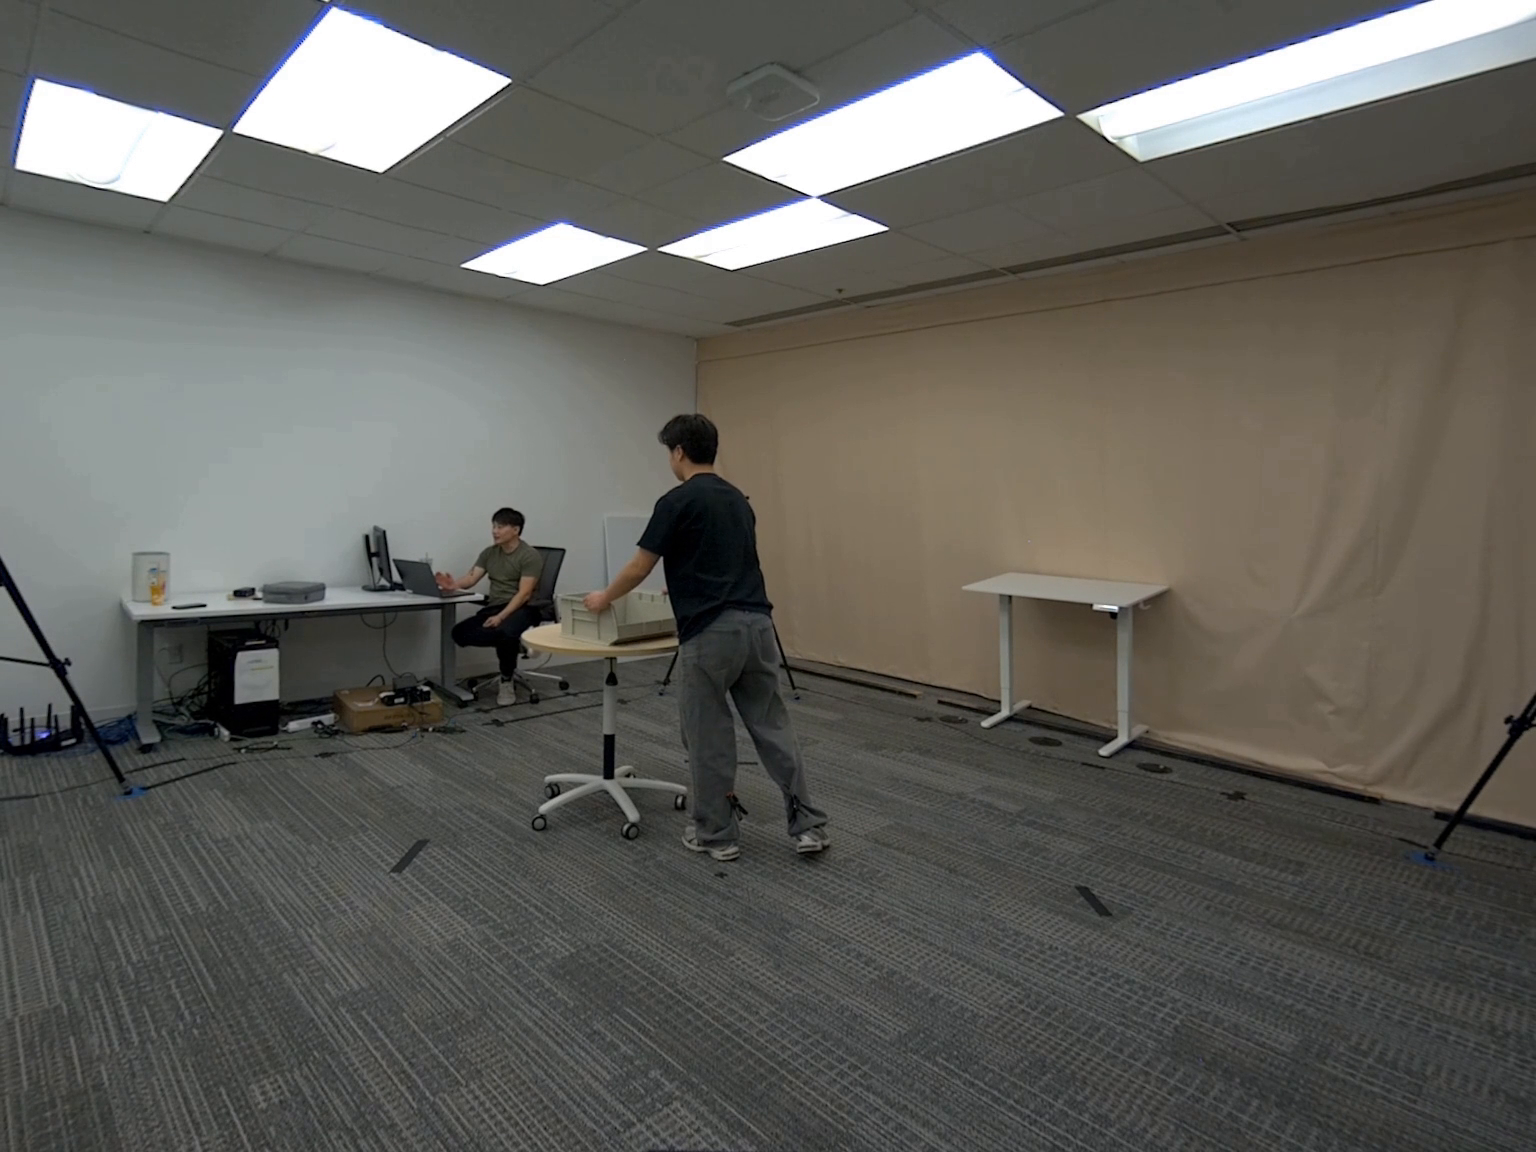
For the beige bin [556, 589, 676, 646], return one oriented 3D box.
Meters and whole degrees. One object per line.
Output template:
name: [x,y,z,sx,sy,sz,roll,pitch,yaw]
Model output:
beige bin: [-0.633,0.173,3.639,0.387,0.188,0.413,4,6,39]
